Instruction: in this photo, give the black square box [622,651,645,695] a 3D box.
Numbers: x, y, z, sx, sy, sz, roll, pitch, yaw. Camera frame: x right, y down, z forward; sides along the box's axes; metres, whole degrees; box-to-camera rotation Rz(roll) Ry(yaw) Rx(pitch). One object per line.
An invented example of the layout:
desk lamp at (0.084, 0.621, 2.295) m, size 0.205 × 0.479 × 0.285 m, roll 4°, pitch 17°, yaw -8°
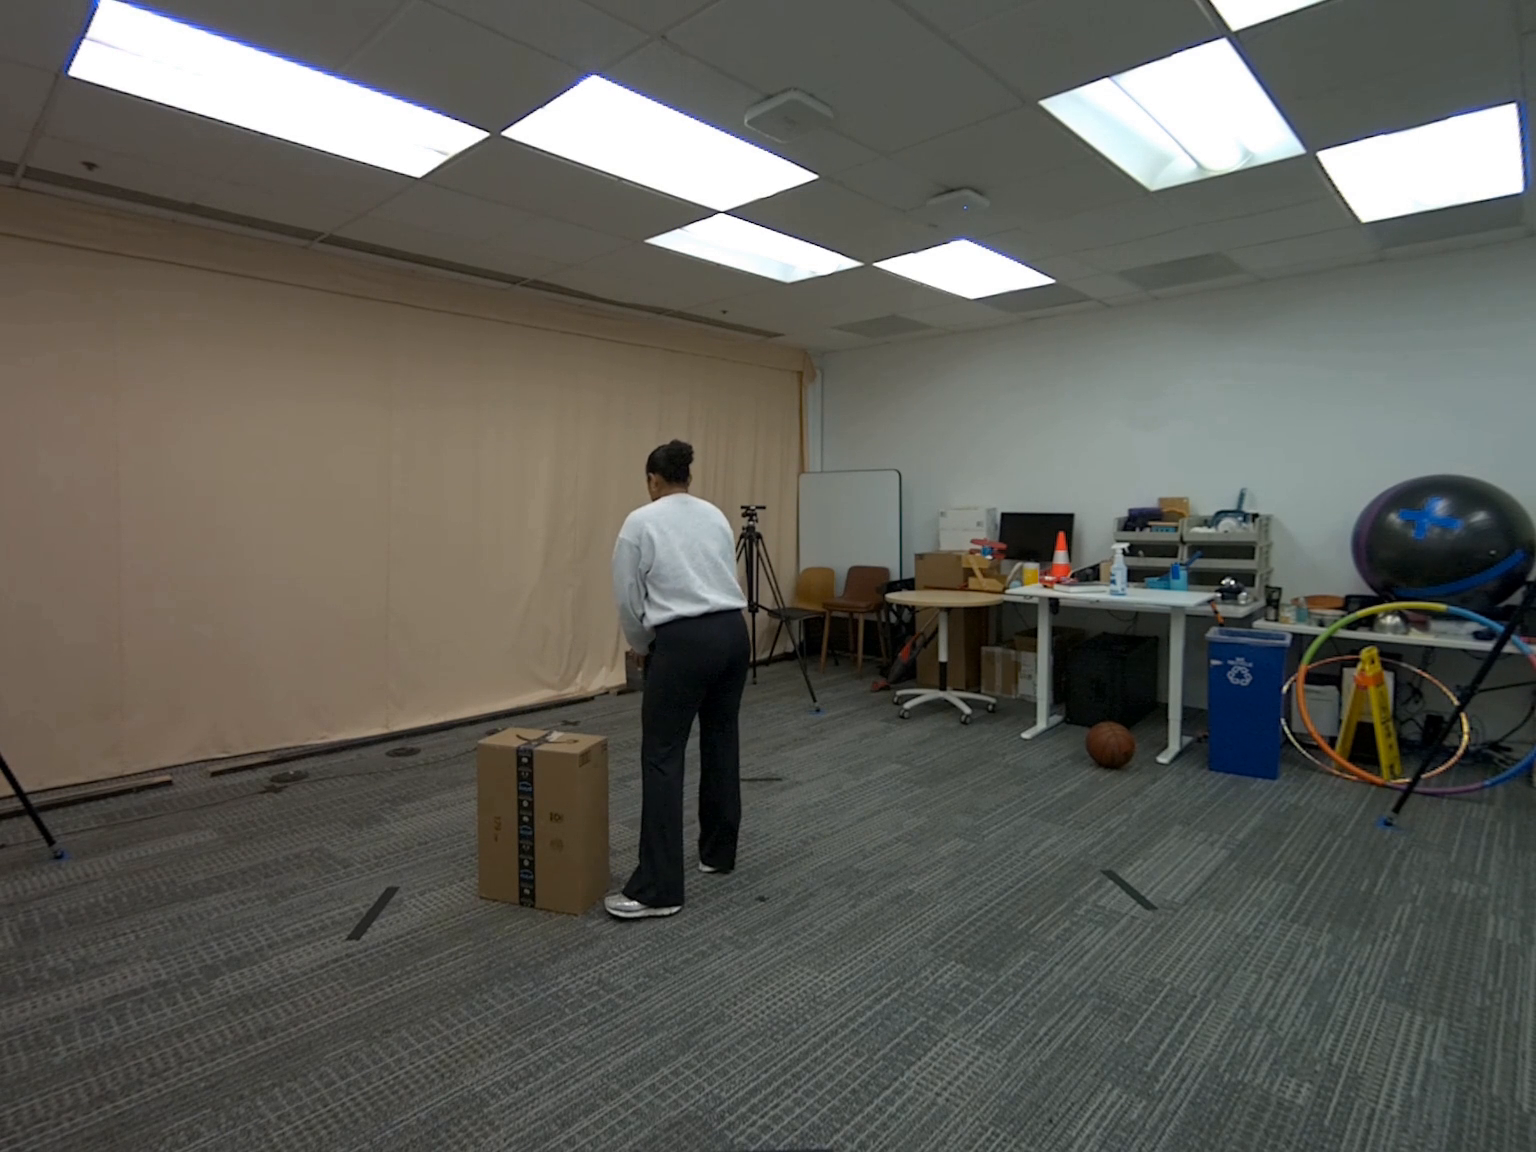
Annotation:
black square box at (-0.453, 0.388, 3.470) m, size 0.222 × 0.156 × 0.222 m, roll -2°, pitch -3°, yaw -27°
